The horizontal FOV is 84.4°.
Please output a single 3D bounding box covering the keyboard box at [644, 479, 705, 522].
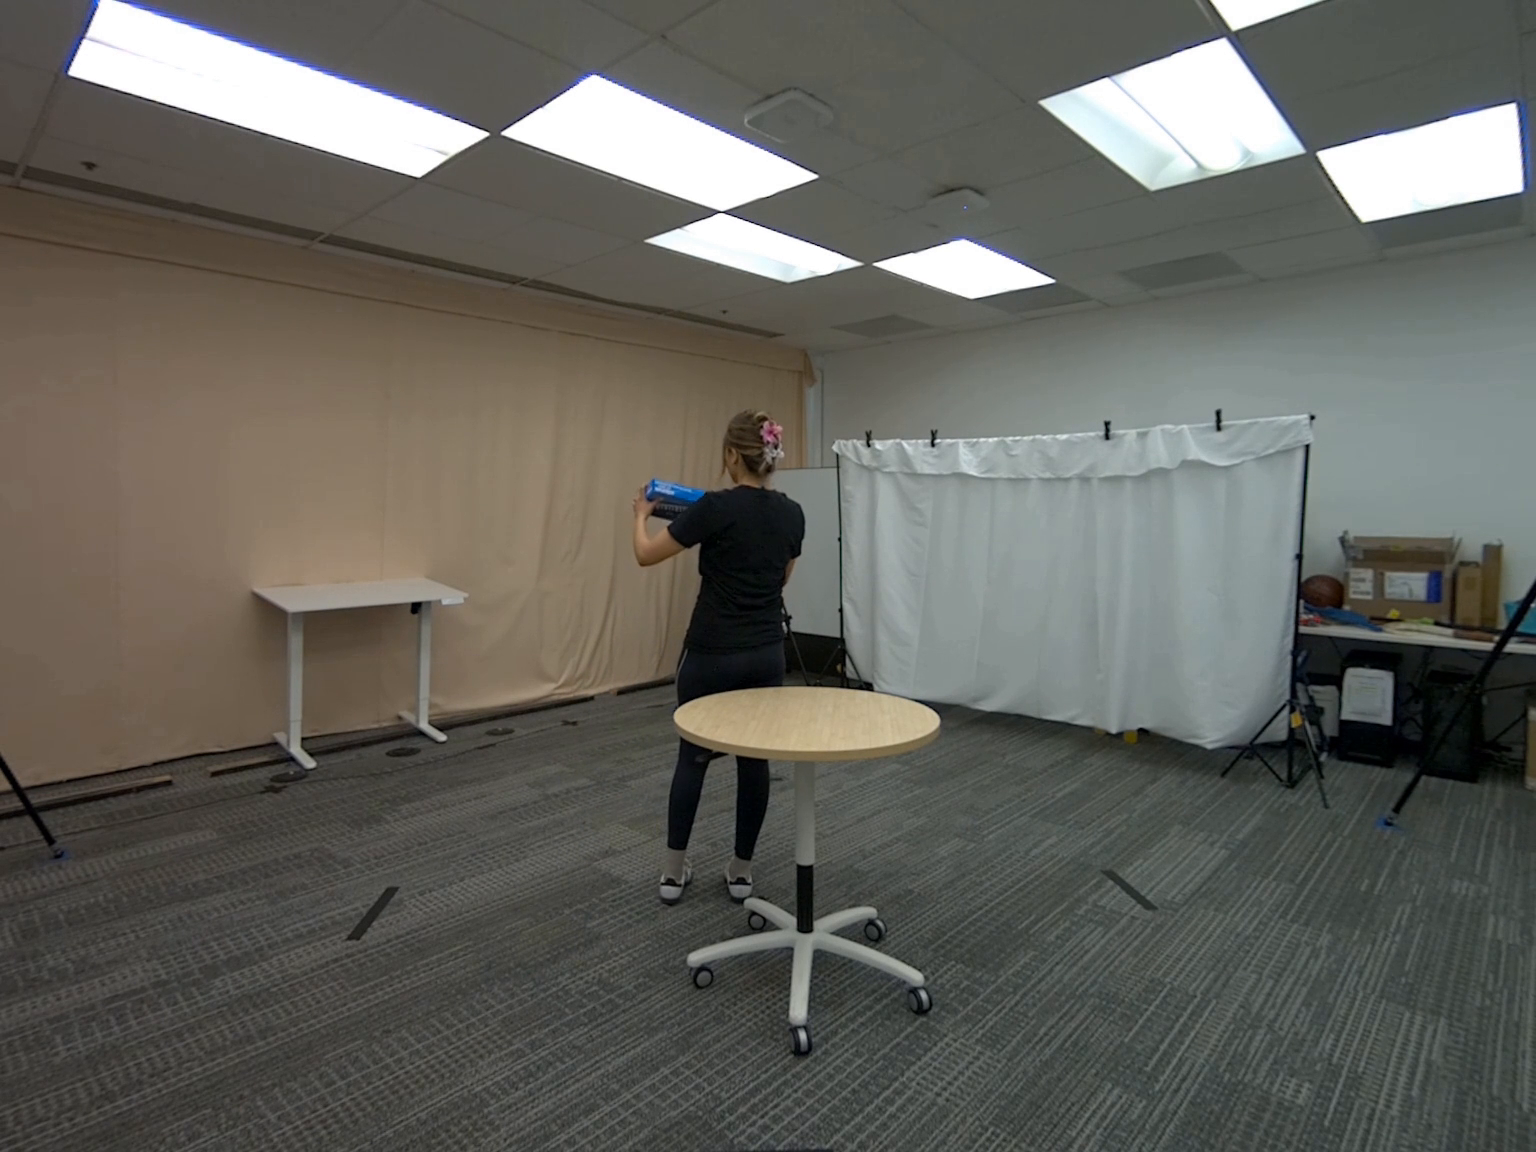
[{"bbox_3d":[-0.280,-0.264,3.265,0.424,0.060,0.178,14,-30,-28],"label":"keyboard box"}]
